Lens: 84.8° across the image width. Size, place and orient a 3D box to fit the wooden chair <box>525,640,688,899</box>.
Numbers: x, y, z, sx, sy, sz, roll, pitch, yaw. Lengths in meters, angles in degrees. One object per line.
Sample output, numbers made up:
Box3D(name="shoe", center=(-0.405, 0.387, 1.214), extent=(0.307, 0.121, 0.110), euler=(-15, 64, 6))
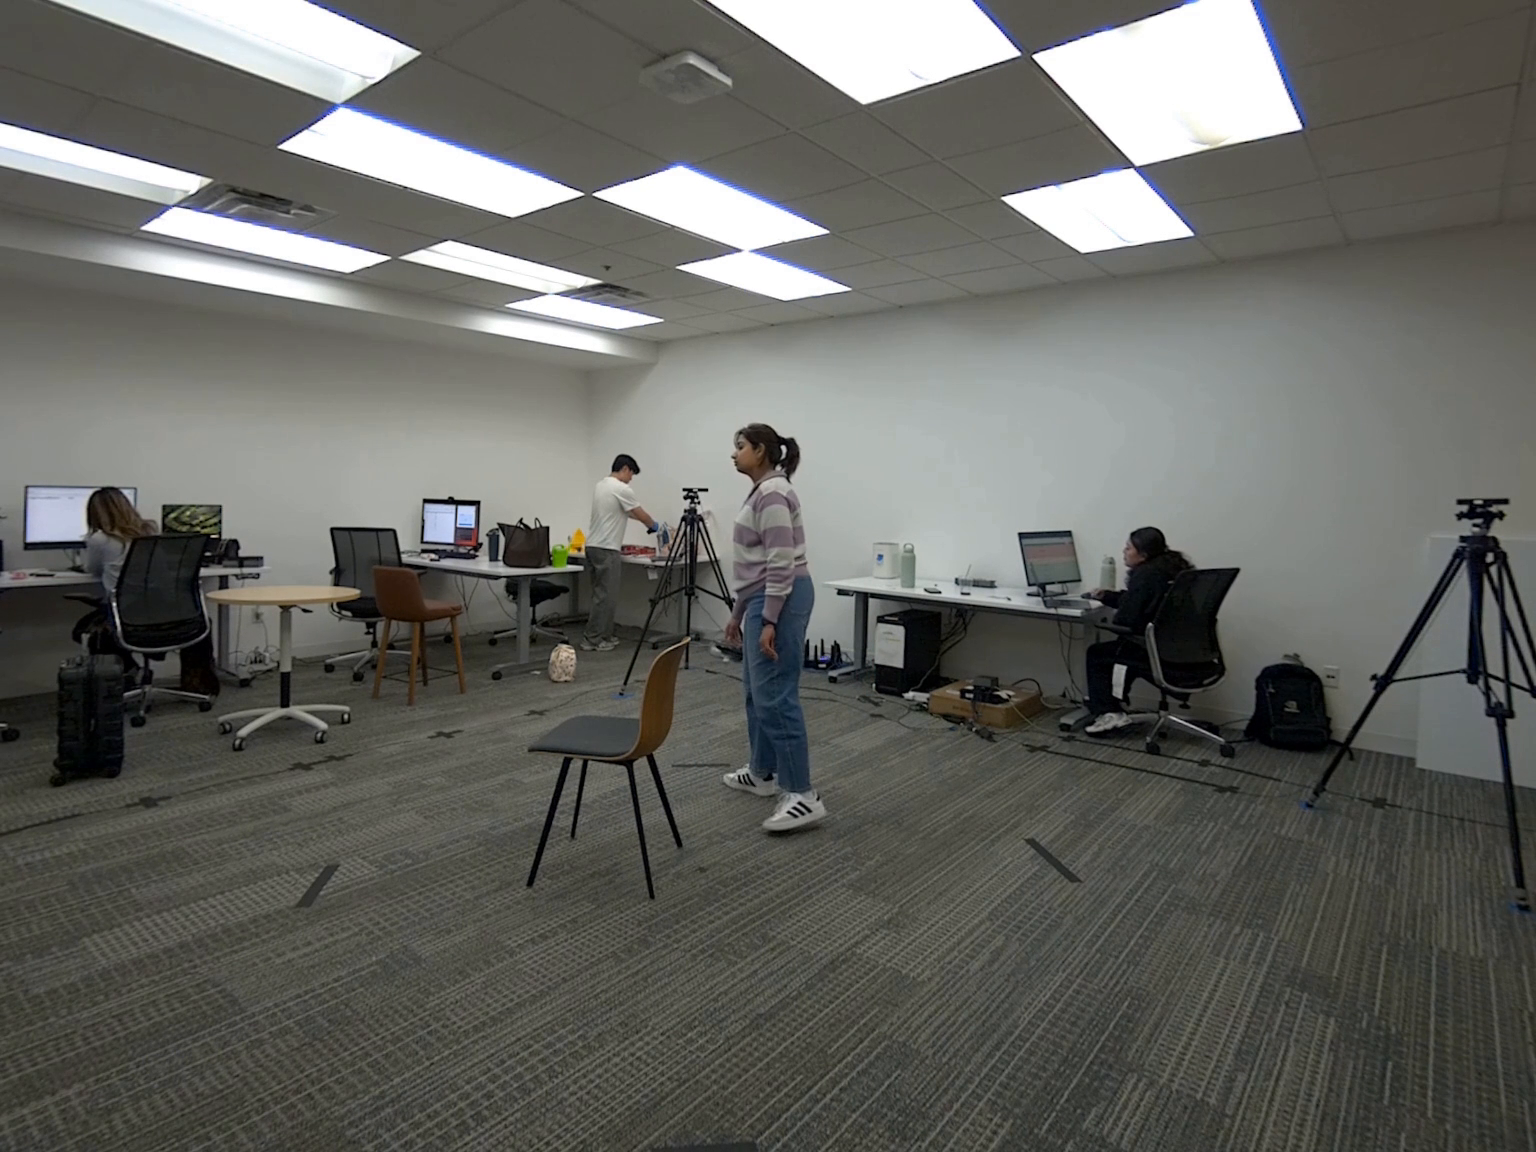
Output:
Box3D(name="wooden chair", center=(-0.594, 0.636, 3.100), extent=(0.529, 0.875, 0.474), euler=(5, 4, 9))
